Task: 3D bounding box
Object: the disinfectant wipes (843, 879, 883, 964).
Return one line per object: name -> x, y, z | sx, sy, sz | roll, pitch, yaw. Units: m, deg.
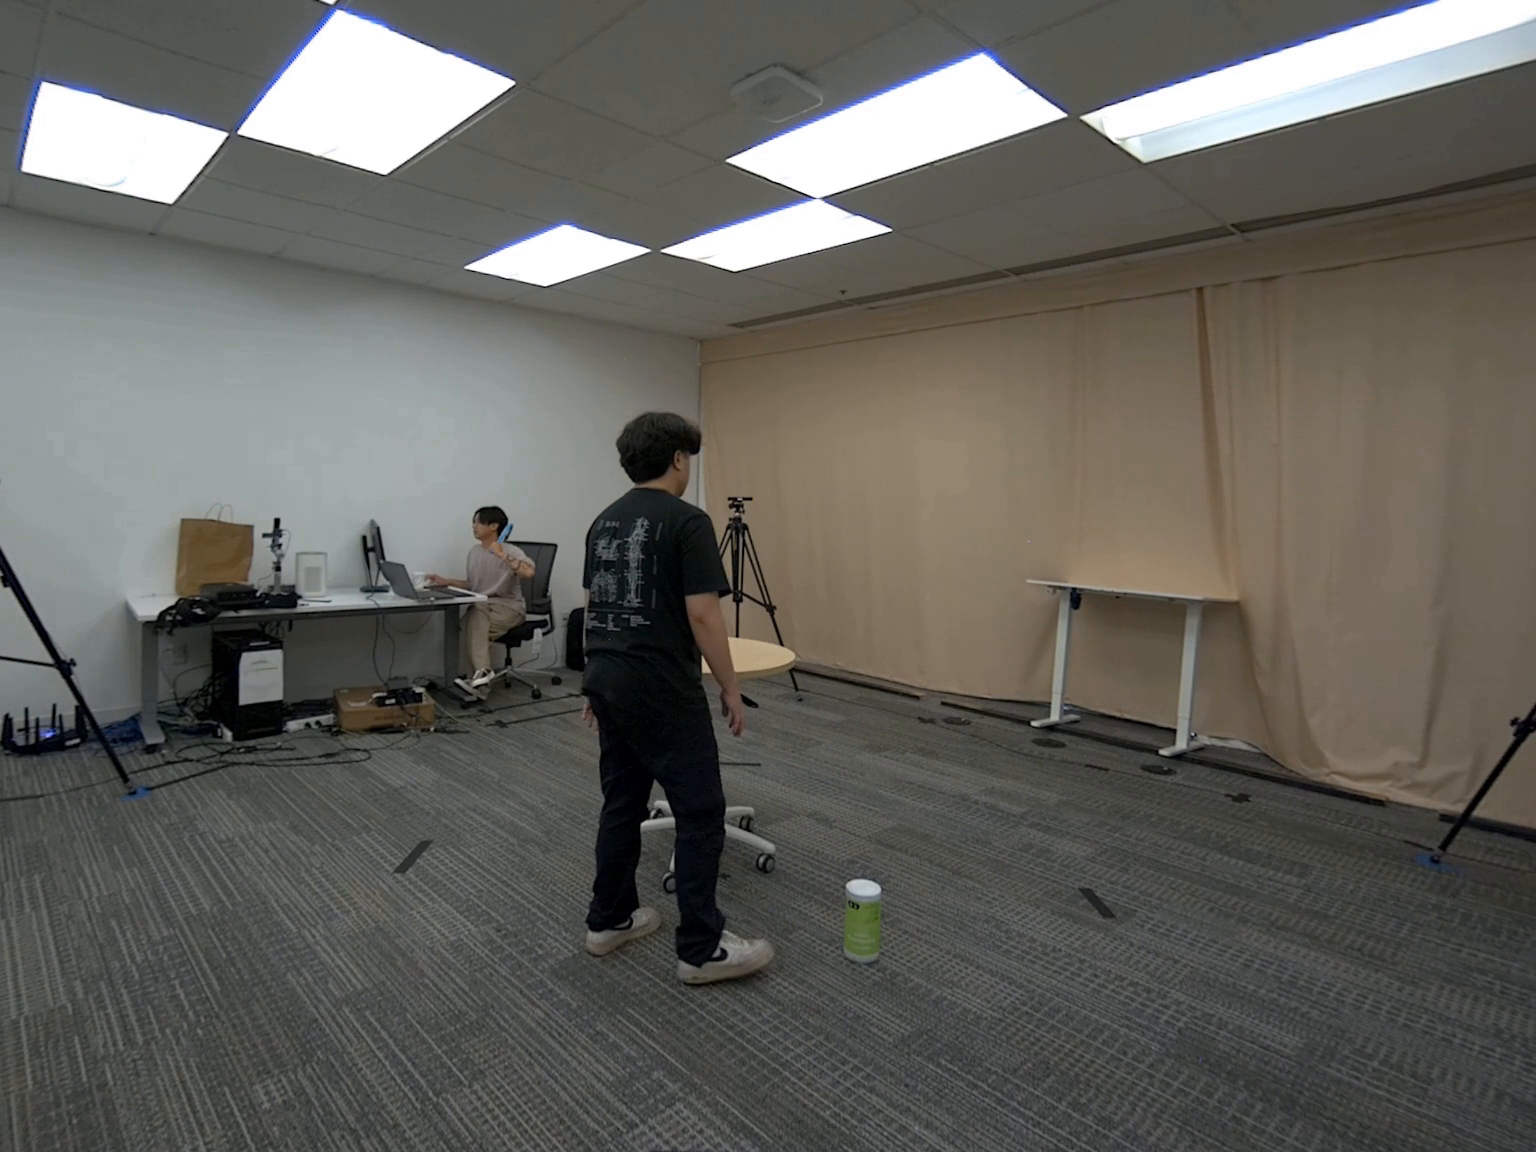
disinfectant wipes -> 0.289, 1.051, 2.587 | 0.118, 0.217, 0.118 | 1, 3, -1
